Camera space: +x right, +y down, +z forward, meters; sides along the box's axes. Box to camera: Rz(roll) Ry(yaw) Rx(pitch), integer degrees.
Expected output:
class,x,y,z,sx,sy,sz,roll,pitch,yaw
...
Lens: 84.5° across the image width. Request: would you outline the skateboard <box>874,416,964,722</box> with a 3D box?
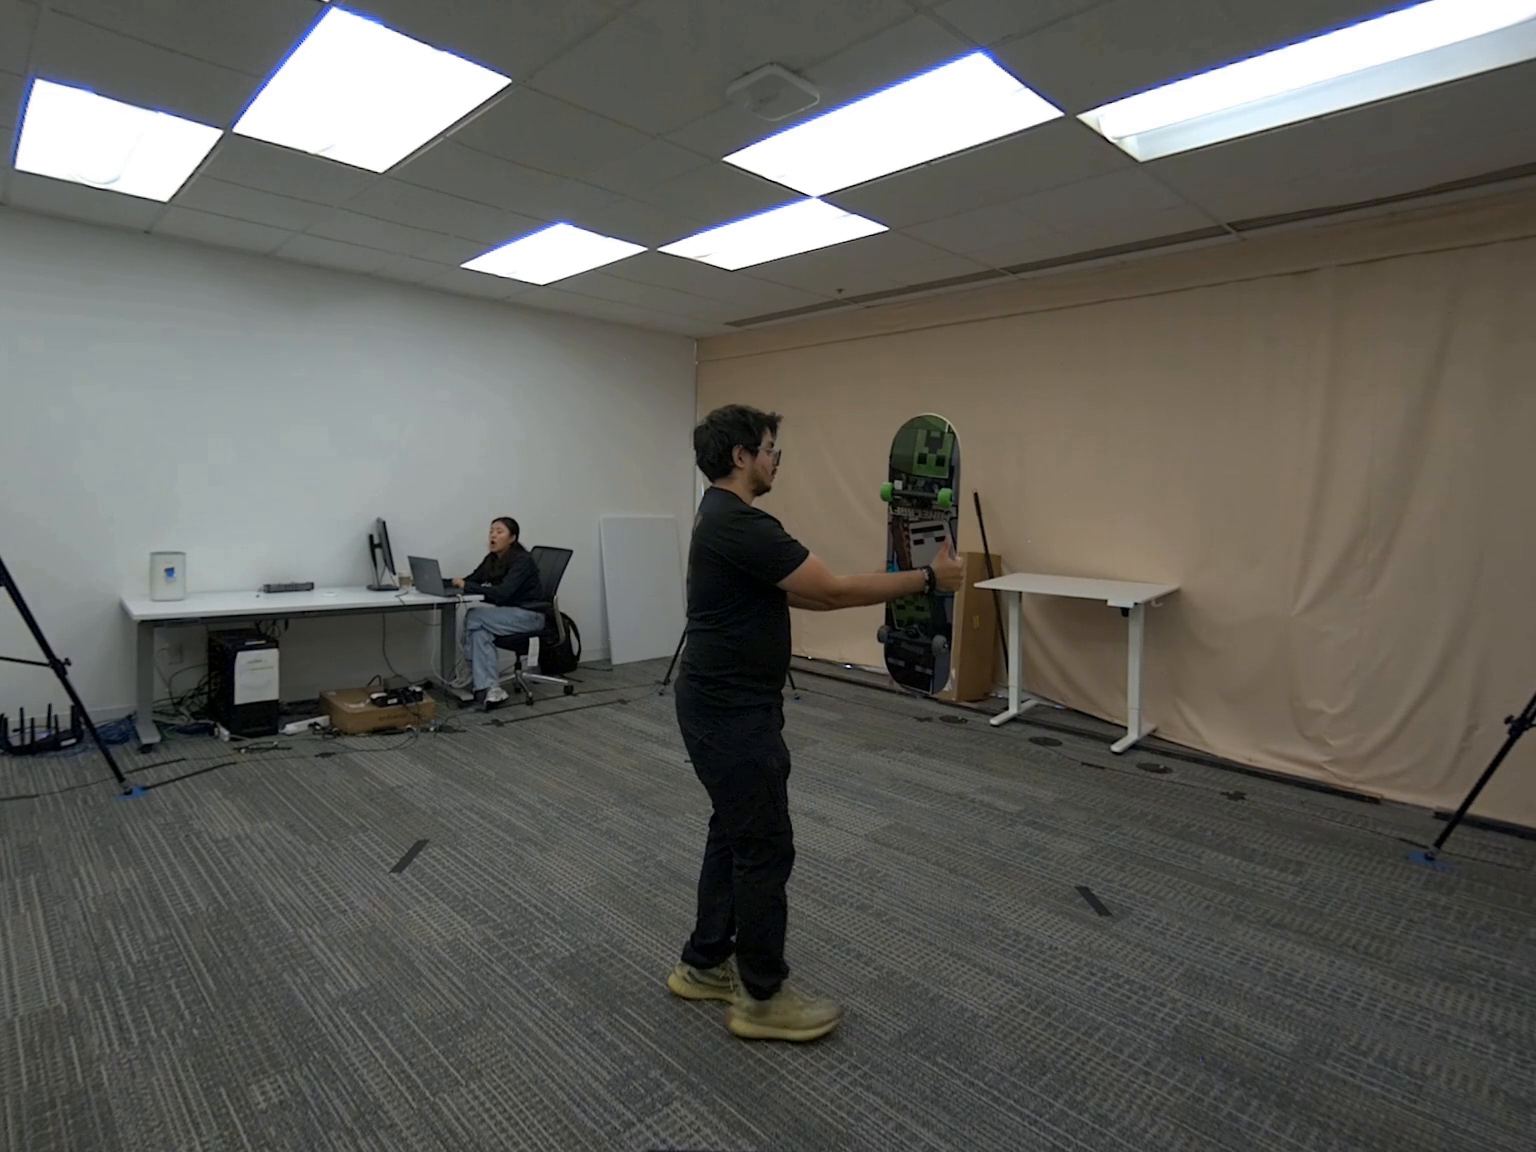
class,x,y,z,sx,sy,sz,roll,pitch,yaw
skateboard,0.394,-0.022,2.233,0.198,0.777,0.109,7,16,32
